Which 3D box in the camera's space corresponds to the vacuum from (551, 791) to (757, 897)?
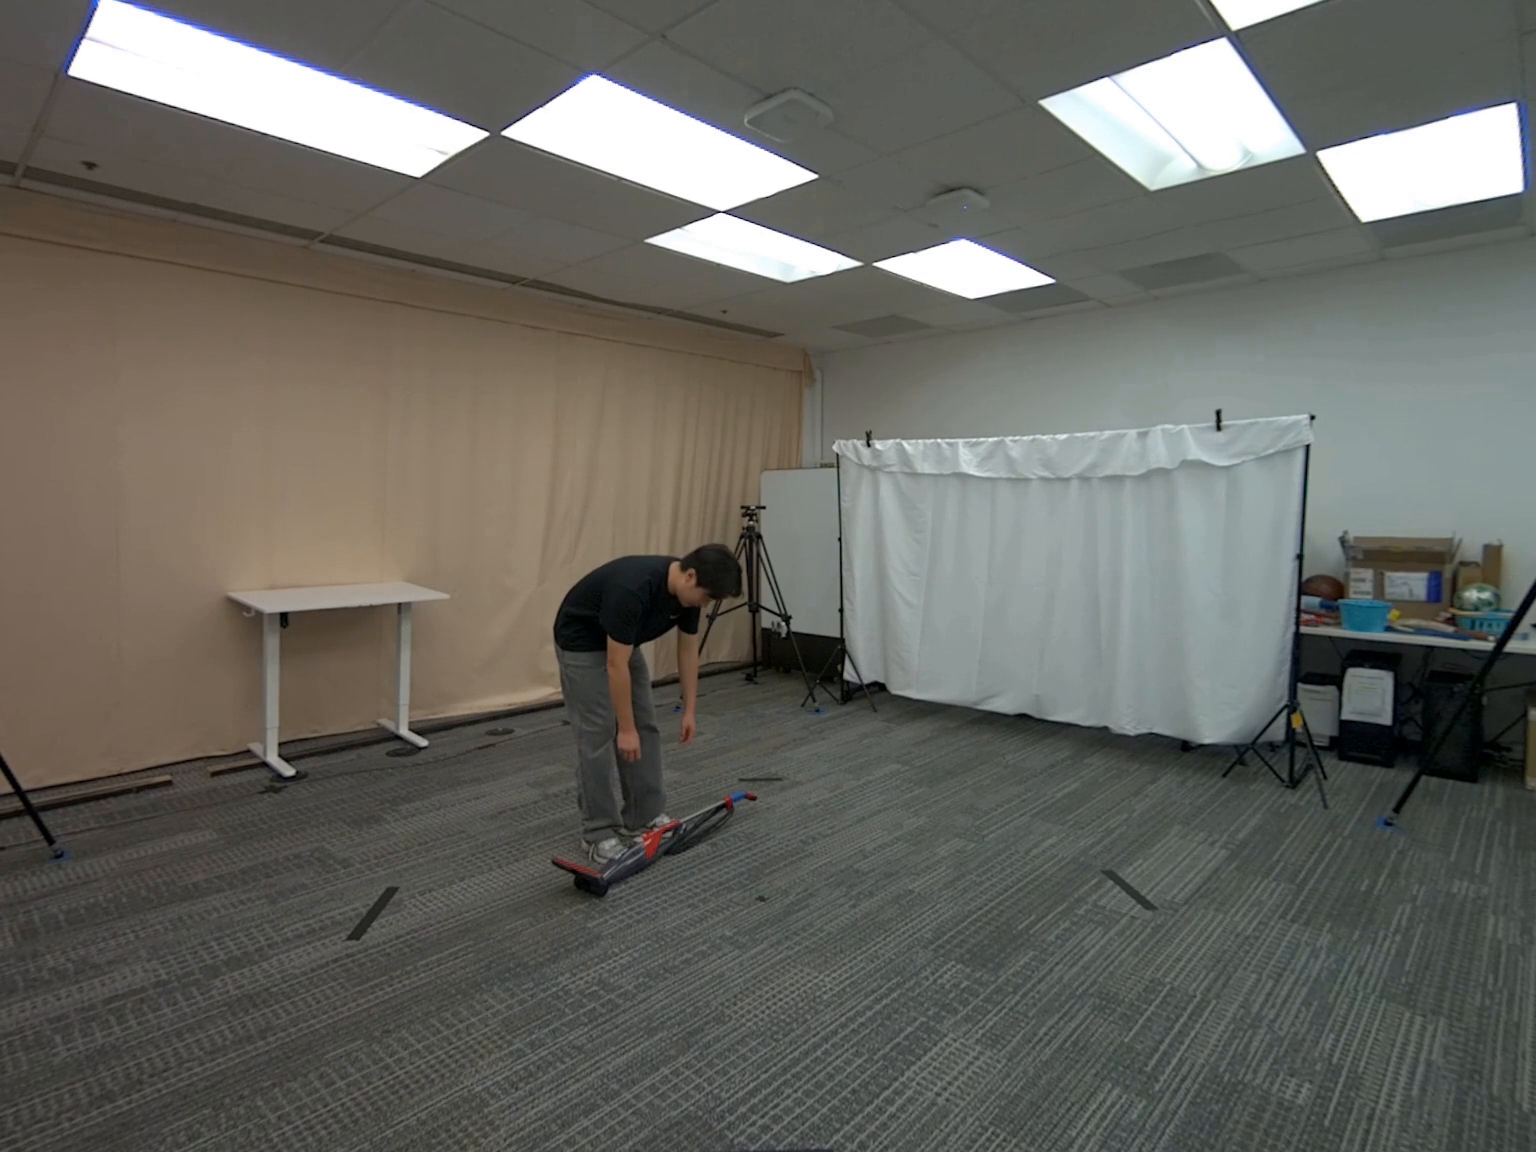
[{"bbox_3d":[-0.364,1.048,3.413,0.260,0.144,1.018,-1,3,37],"label":"vacuum"}]
